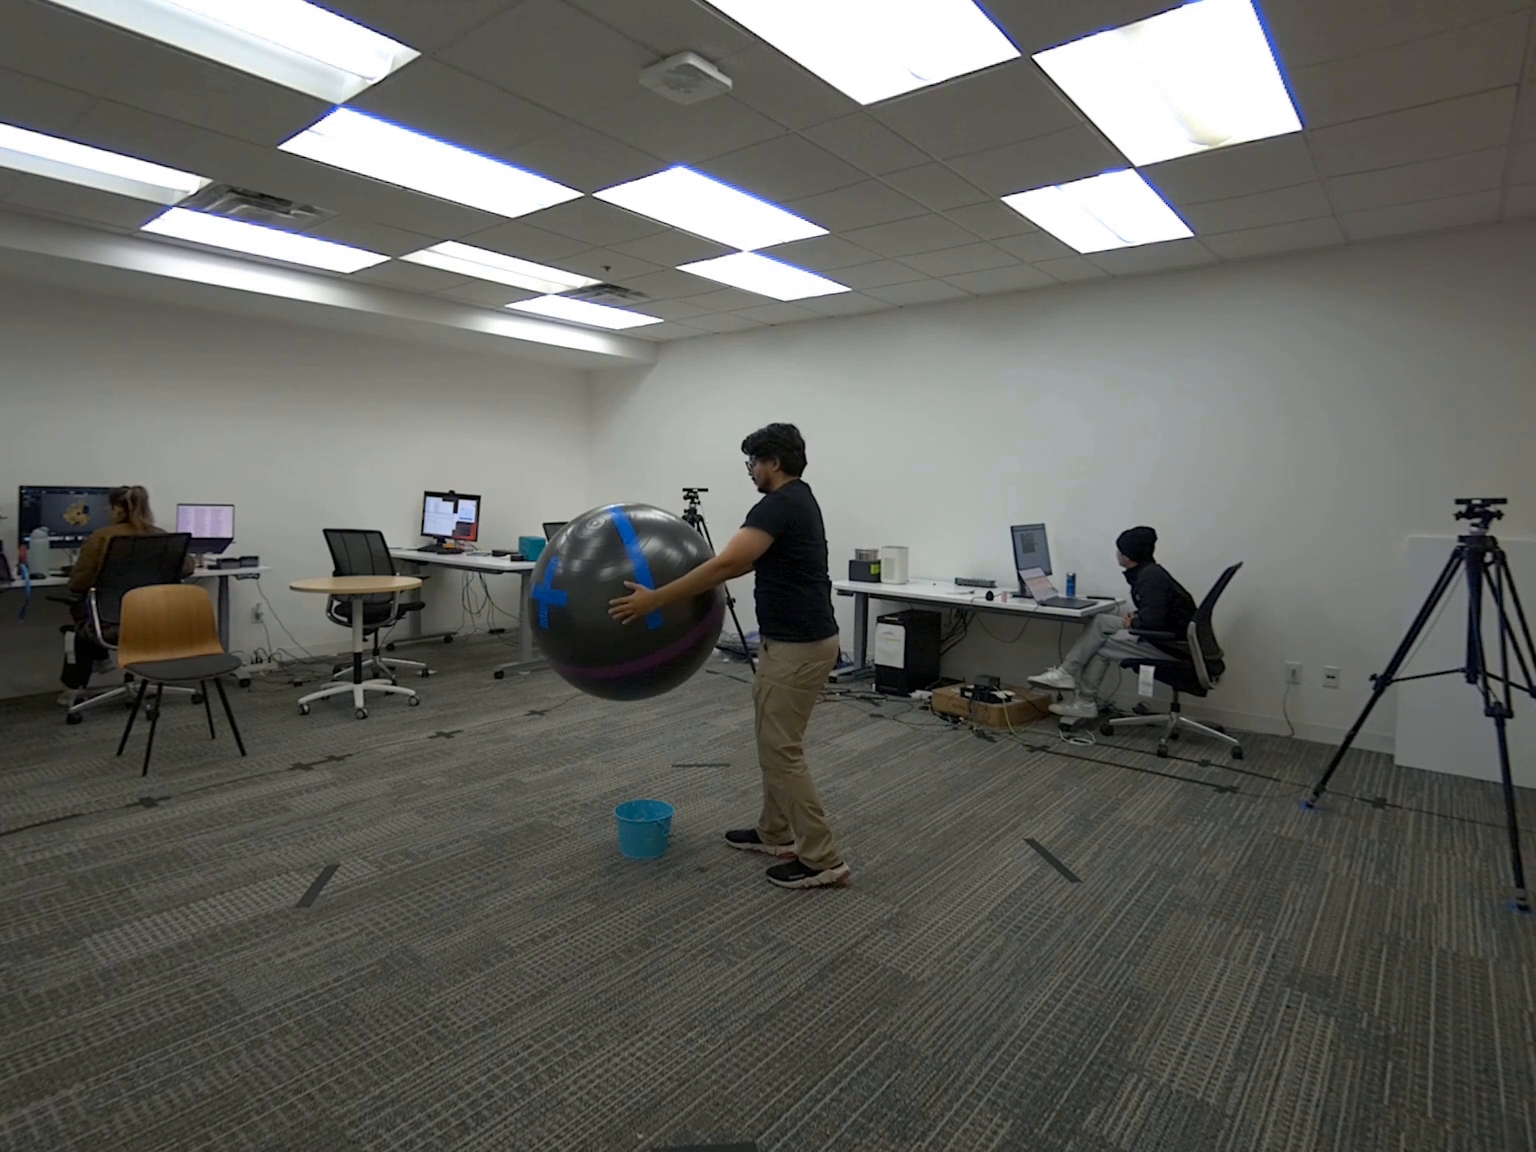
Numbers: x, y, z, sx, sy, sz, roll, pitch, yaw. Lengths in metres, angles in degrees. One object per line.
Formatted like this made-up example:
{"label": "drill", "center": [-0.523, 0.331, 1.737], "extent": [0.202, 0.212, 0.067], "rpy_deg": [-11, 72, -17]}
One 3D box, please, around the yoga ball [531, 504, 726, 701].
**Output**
{"label": "yoga ball", "center": [-0.555, 0.095, 3.282], "extent": [0.757, 0.756, 0.761], "rpy_deg": [1, 4, -2]}
